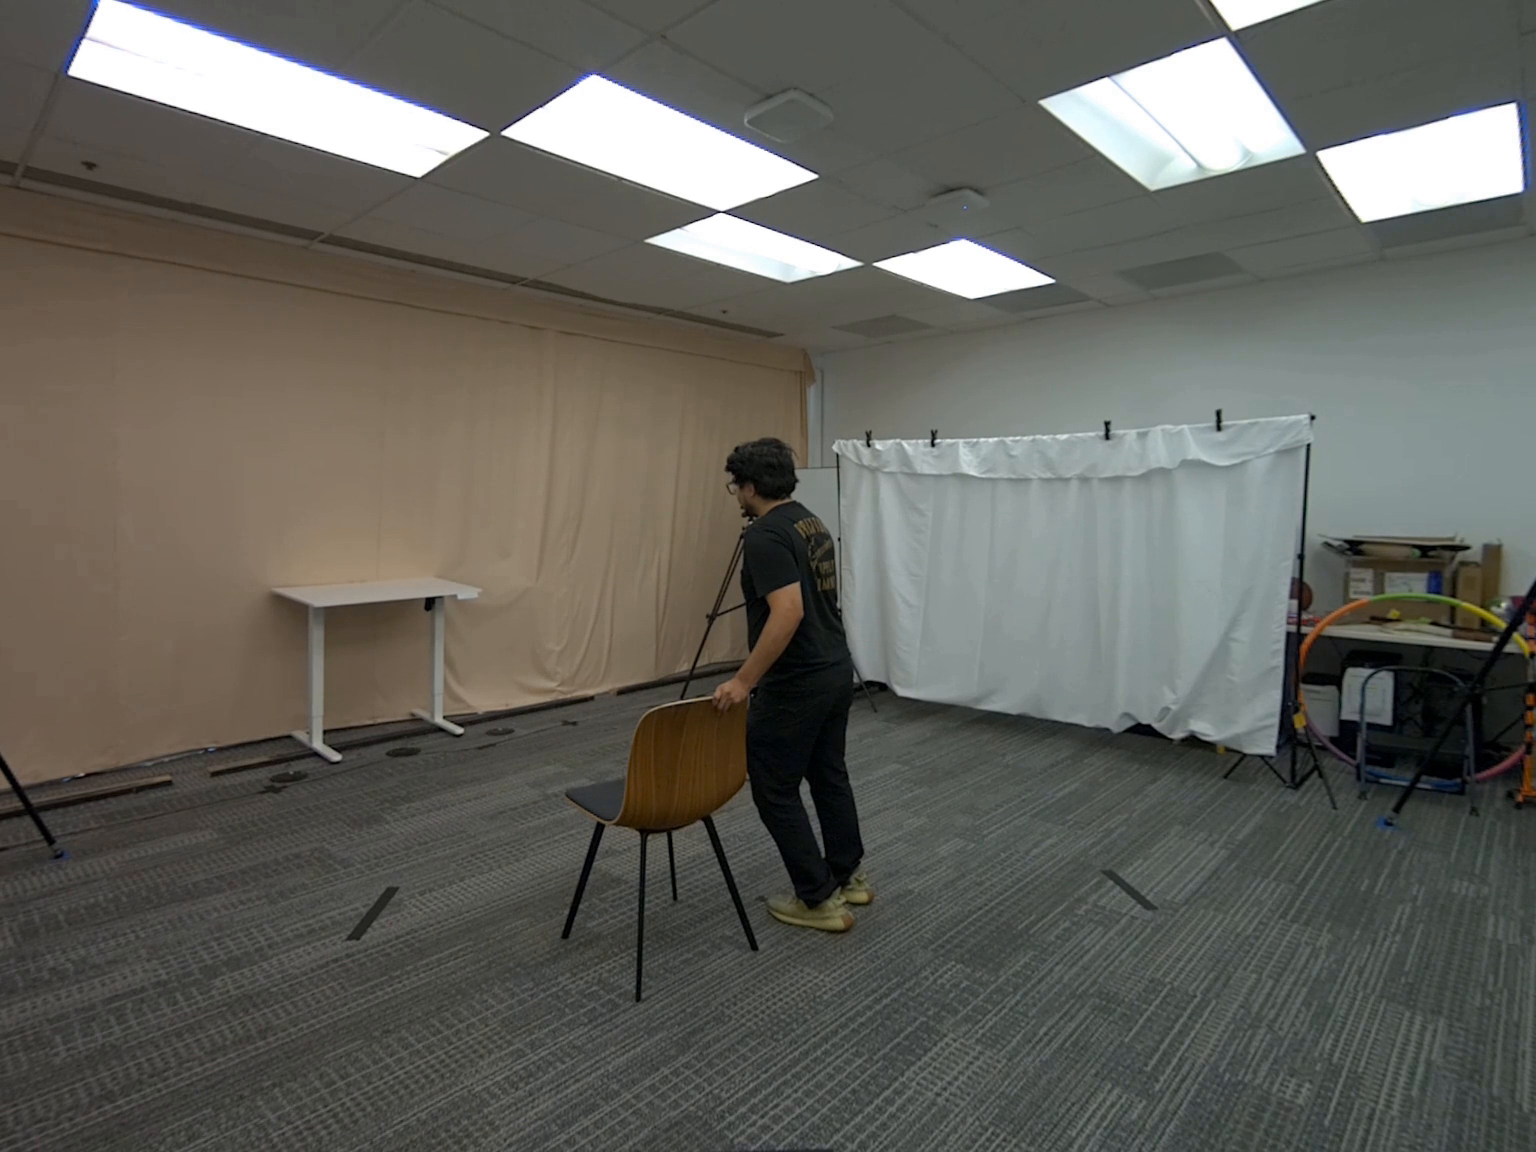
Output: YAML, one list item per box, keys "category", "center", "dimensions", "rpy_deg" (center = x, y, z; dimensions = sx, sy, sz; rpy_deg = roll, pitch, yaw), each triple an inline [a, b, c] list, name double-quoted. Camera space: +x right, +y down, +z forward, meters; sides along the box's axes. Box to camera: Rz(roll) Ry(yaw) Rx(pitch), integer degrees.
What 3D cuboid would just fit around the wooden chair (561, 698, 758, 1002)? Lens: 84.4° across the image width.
- category: "wooden chair"
  center: [-0.356, 0.748, 2.654]
  dimensions: [0.463, 0.874, 0.541]
  rpy_deg: [-2, 8, -40]
